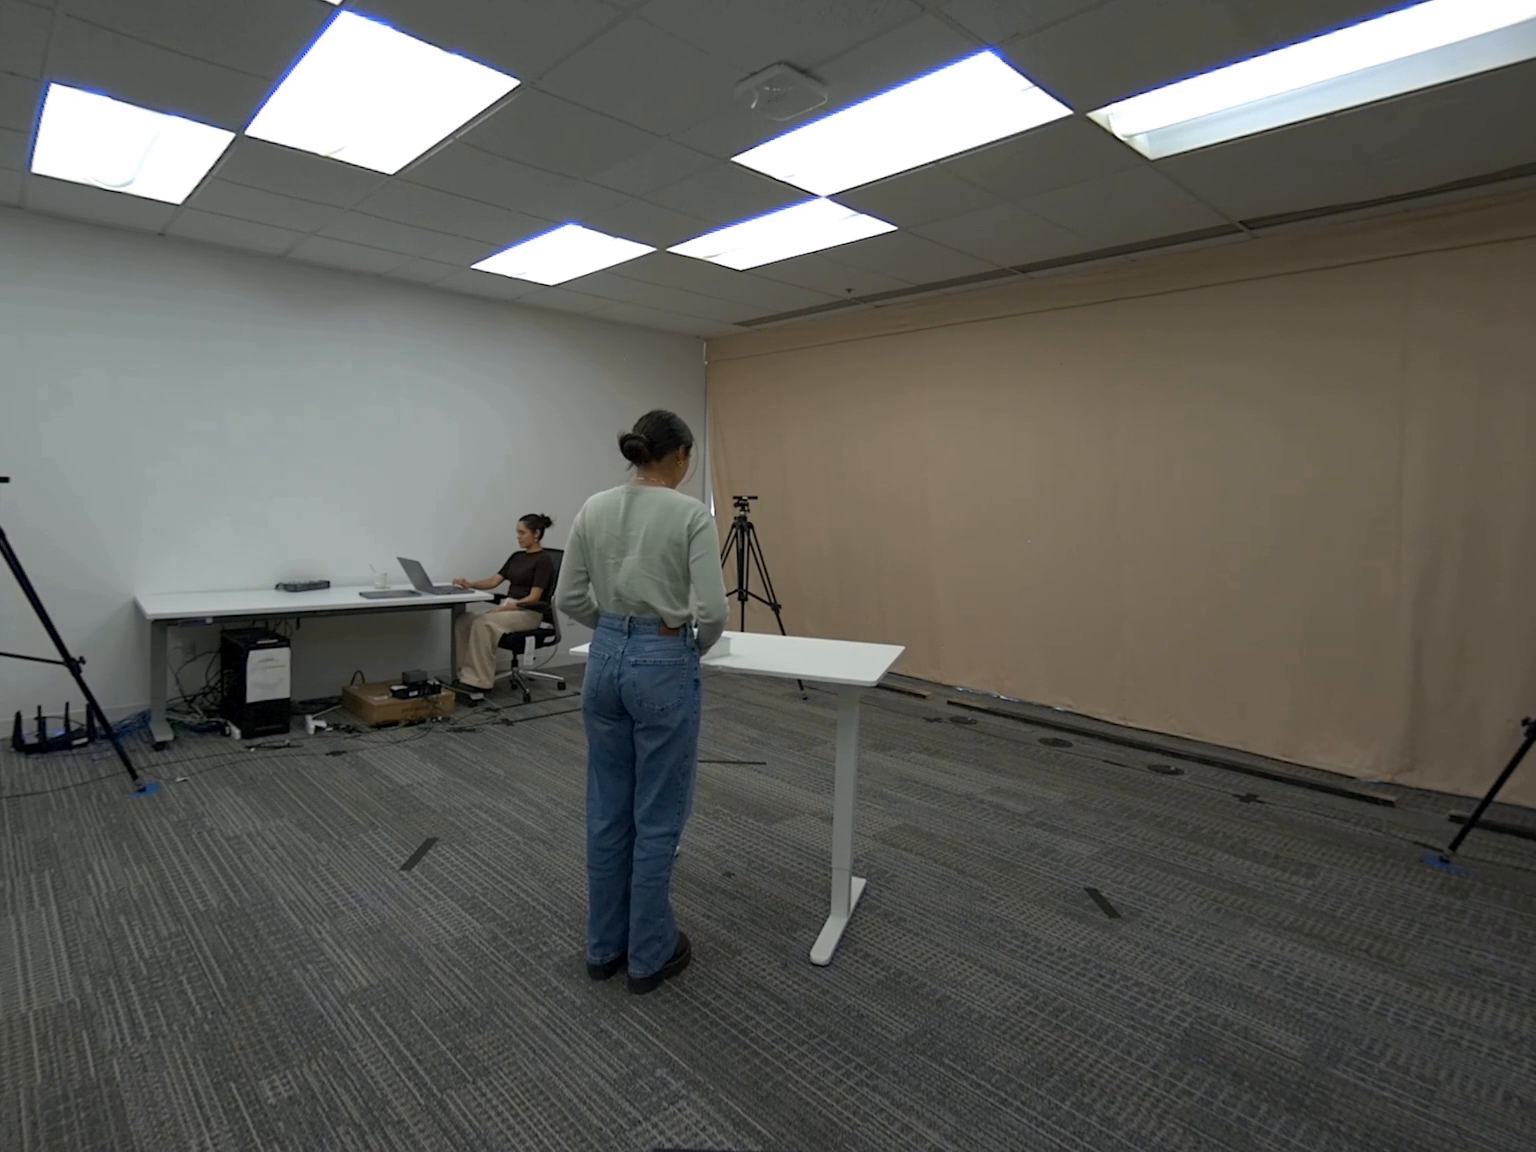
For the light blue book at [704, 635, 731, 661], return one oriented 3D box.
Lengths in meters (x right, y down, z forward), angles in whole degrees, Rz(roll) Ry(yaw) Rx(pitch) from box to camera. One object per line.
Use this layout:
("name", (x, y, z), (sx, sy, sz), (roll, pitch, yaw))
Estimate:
("light blue book", (-0.266, 0.232, 2.685), (0.196, 0.059, 0.255), (7, 8, 38))
